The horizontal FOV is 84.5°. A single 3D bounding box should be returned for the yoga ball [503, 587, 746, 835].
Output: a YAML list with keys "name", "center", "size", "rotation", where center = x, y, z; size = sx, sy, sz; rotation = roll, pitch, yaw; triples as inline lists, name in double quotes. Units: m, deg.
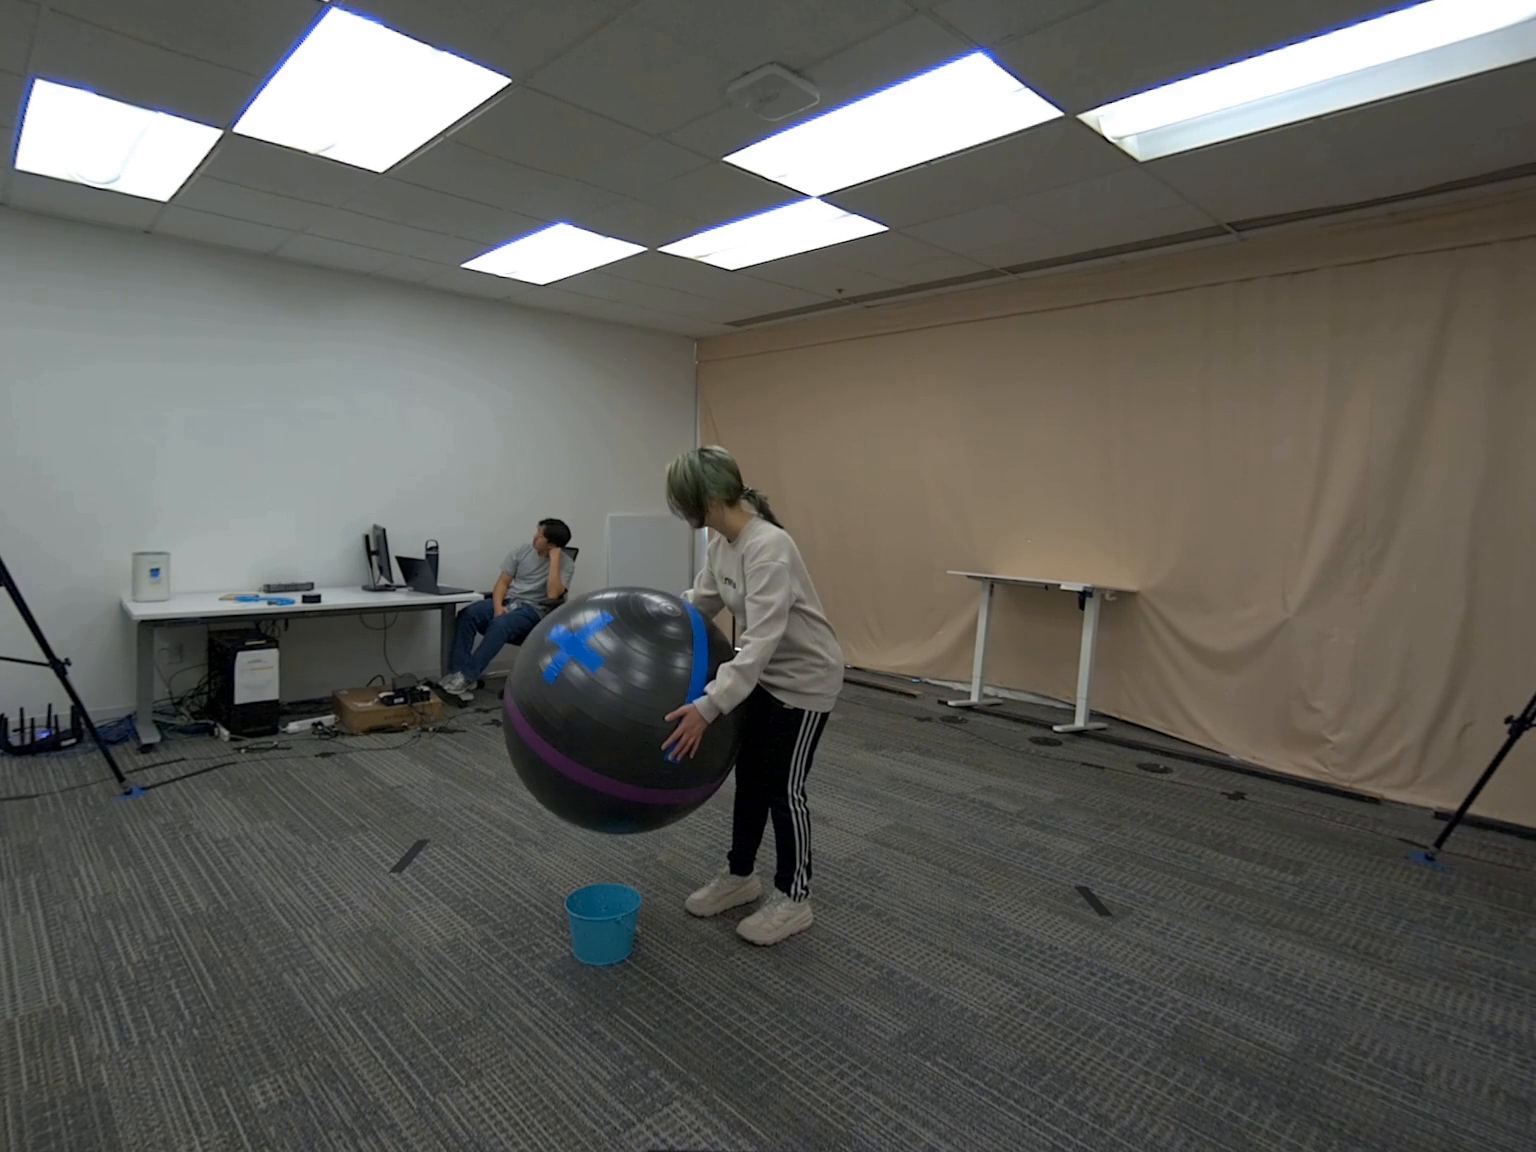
- name: "yoga ball"
  center: [-0.449, 0.423, 2.633]
  size: [0.757, 0.756, 0.761]
  rotation: [1, 4, -1]
